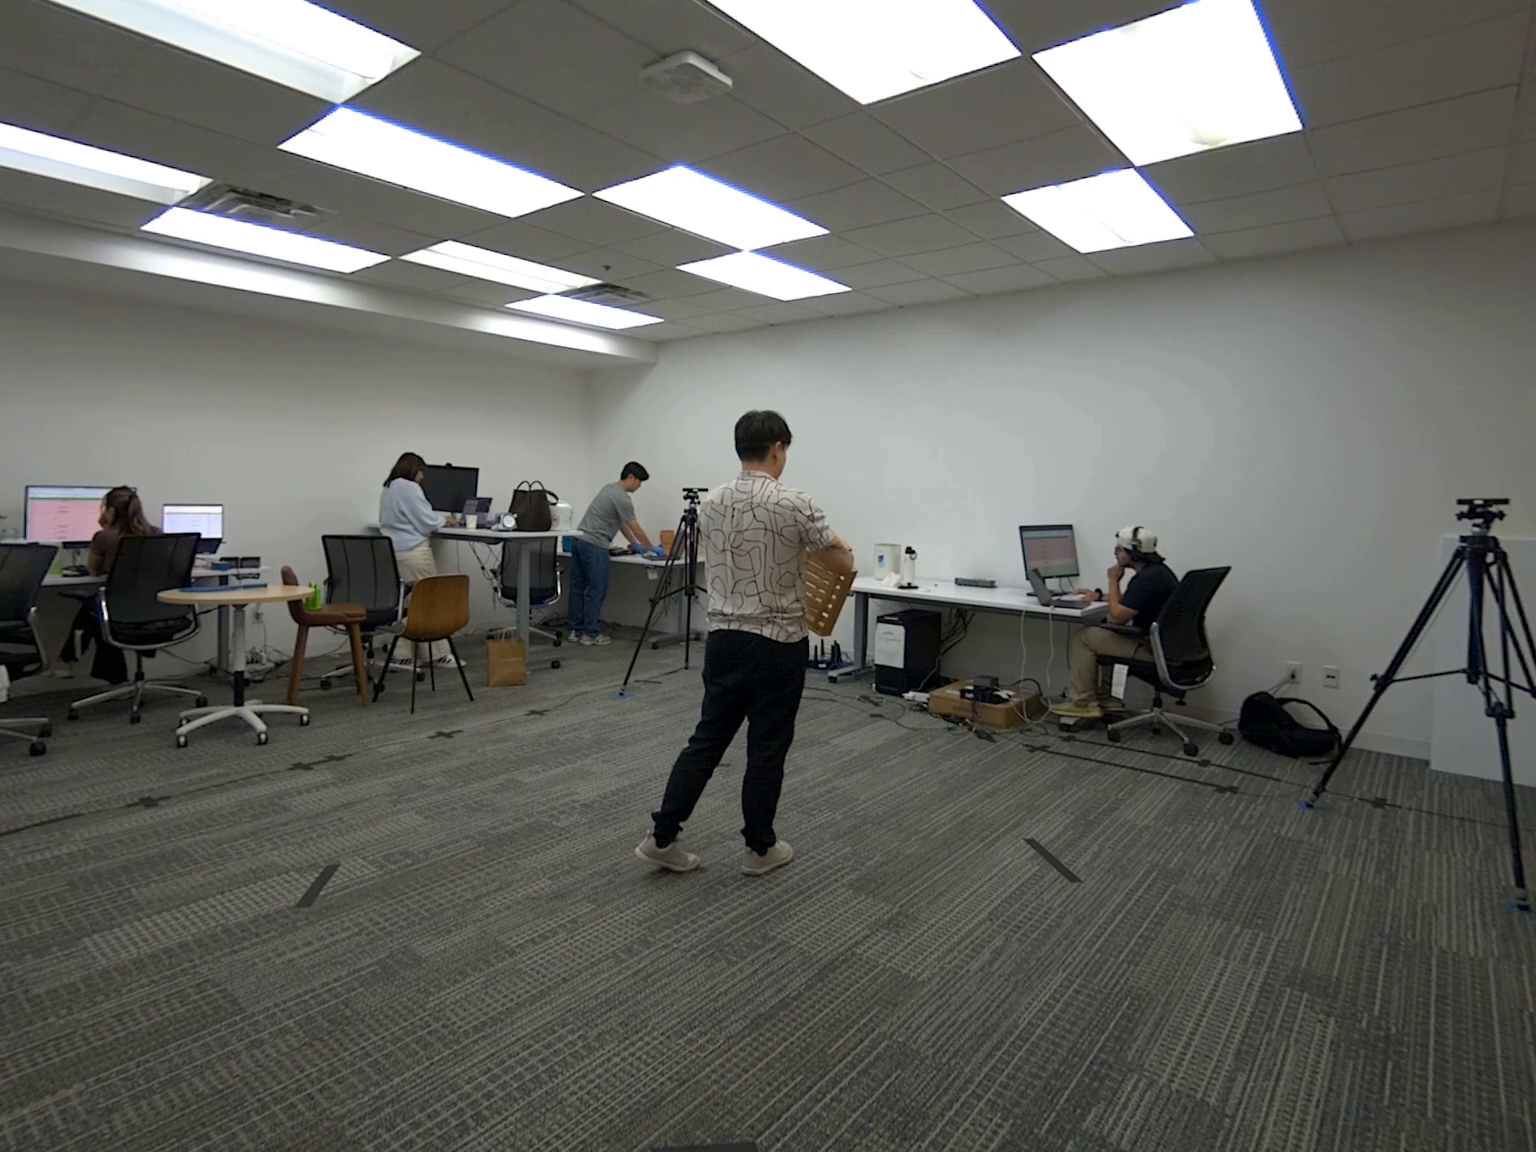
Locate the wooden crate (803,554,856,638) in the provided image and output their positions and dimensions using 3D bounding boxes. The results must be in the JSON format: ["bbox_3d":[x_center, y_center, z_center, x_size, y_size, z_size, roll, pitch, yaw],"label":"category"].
[{"bbox_3d":[0.198,0.012,3.429,0.310,0.320,0.269,29,26,20],"label":"wooden crate"}]
